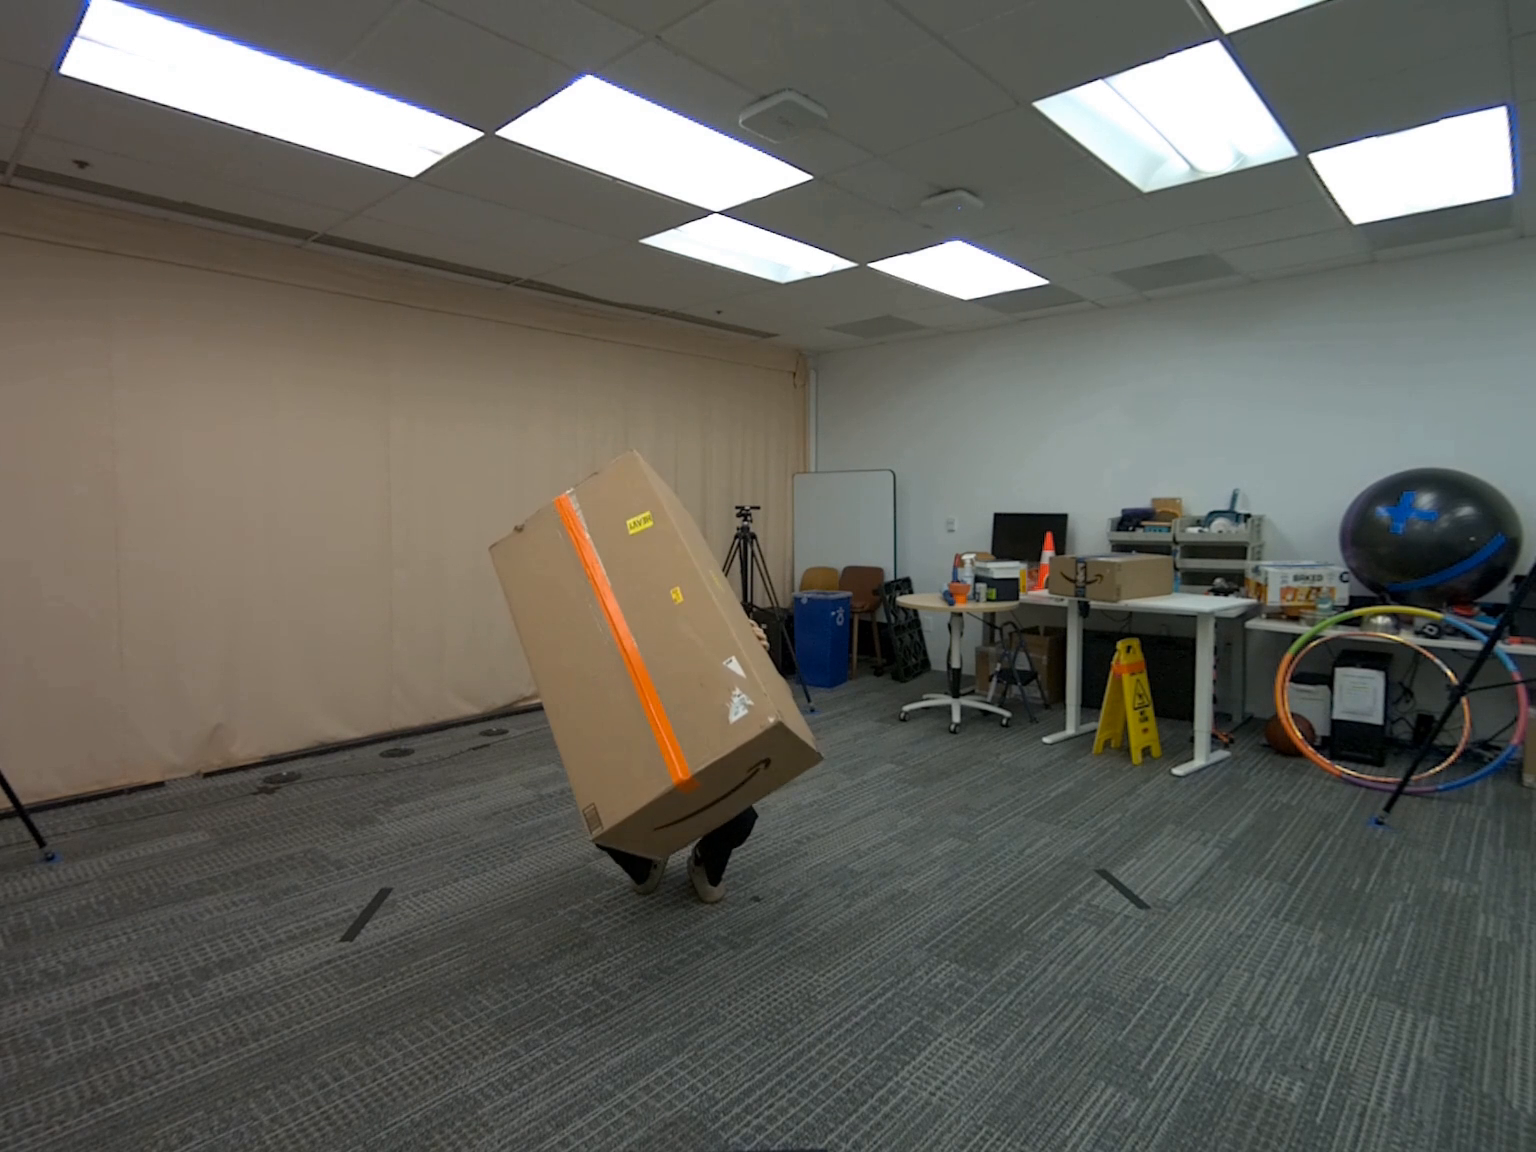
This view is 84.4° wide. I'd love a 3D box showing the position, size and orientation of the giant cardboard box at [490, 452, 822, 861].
[{"bbox_3d":[-0.359,0.213,2.538,0.579,1.057,0.412,-34,-33,4],"label":"giant cardboard box"}]
